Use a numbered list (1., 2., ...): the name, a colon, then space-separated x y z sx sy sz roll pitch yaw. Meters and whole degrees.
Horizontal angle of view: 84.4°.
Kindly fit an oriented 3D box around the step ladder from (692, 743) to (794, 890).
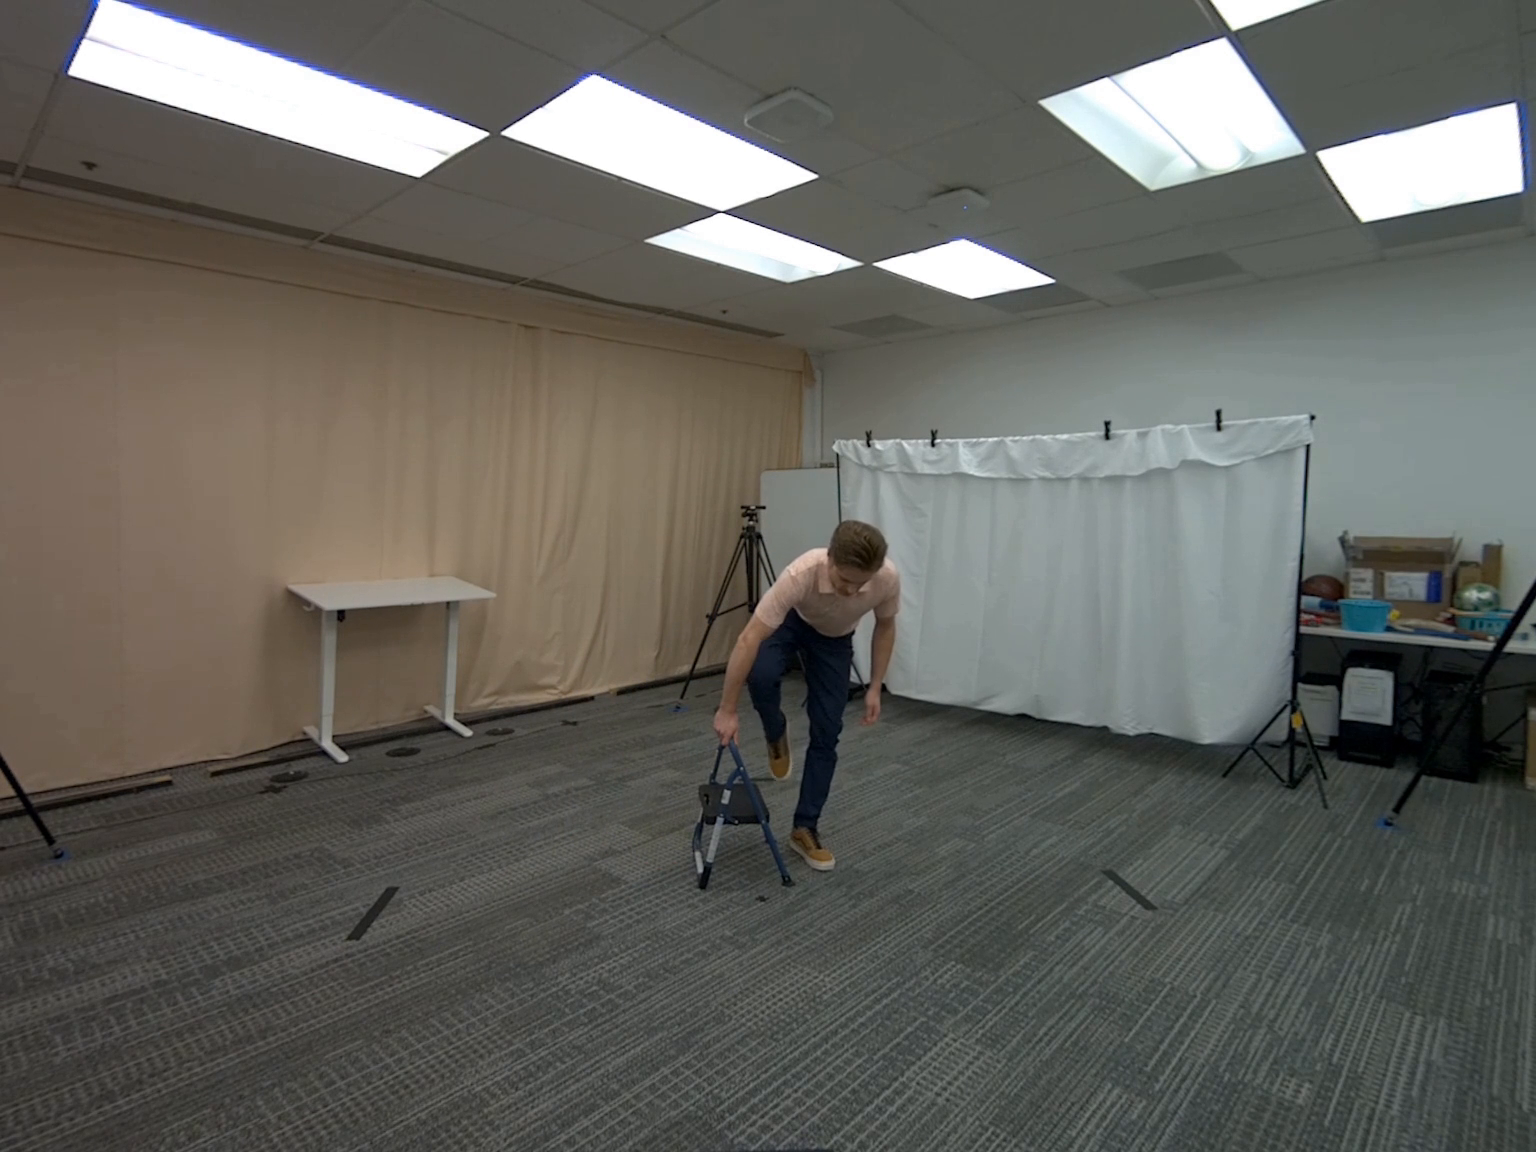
1. step ladder: -0.113 0.822 3.259 0.346 0.605 0.435 0 3 -9
